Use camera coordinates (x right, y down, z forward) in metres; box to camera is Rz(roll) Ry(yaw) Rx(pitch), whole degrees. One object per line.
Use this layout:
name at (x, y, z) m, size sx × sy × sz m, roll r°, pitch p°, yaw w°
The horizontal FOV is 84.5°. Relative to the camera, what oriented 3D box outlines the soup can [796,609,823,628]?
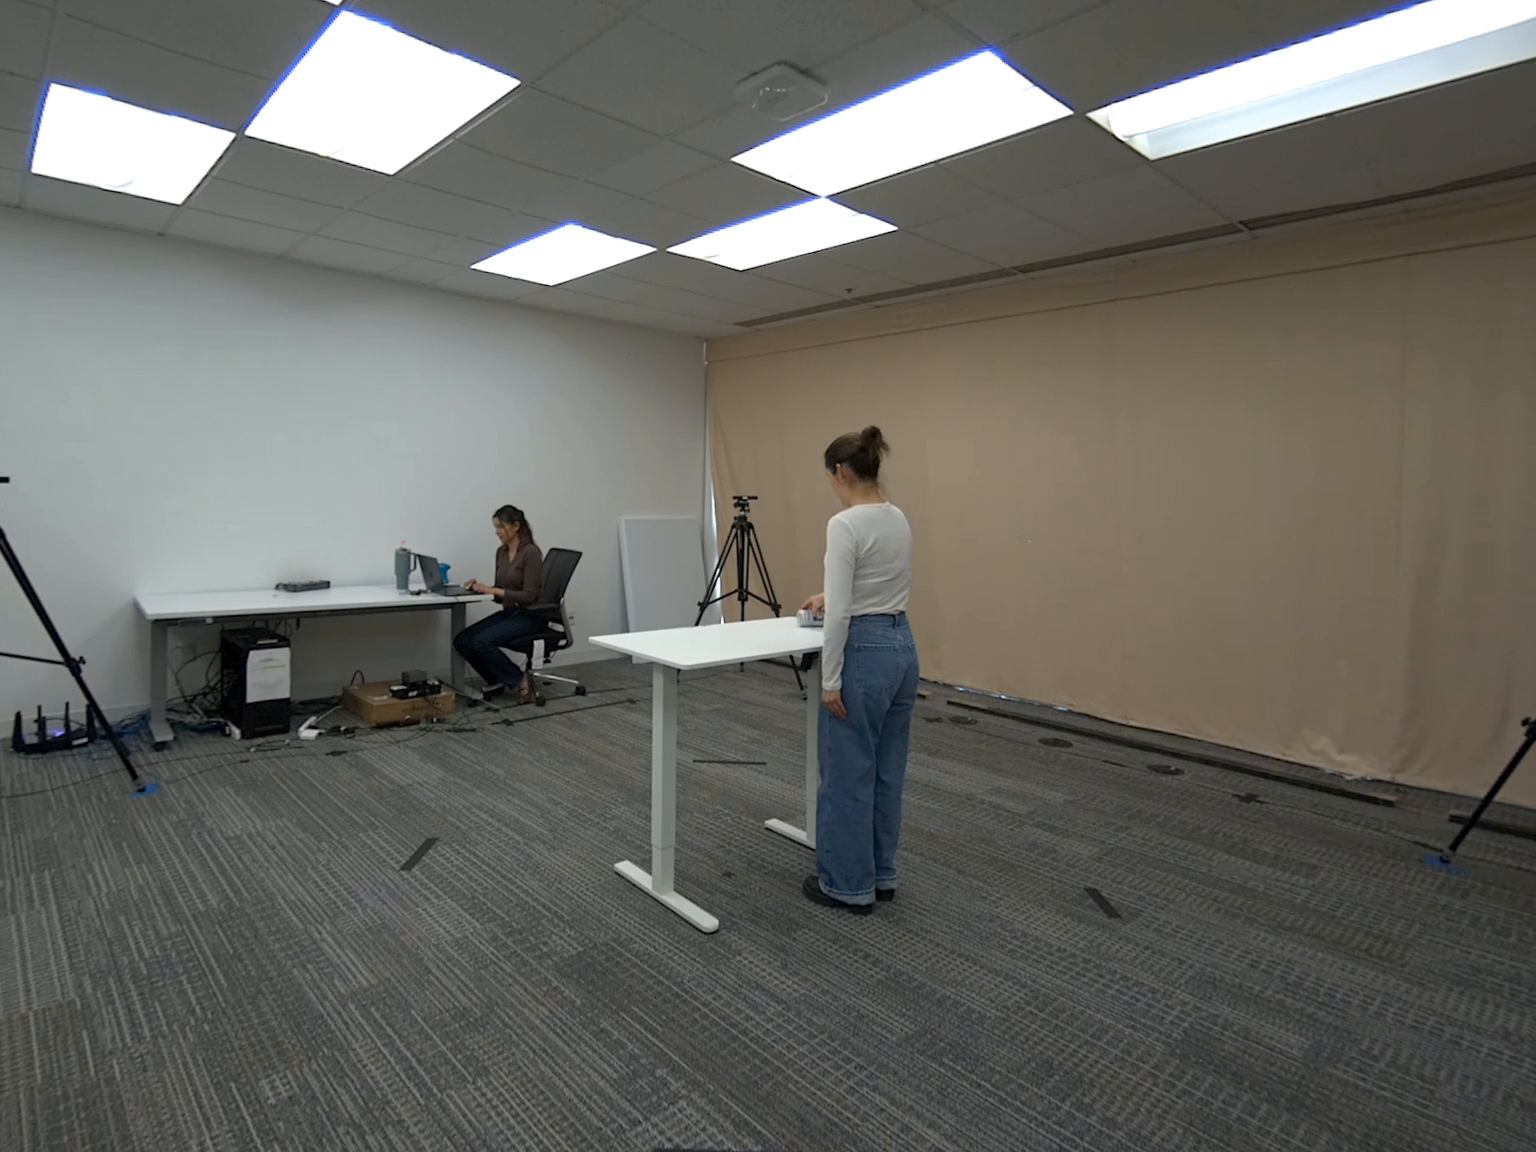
soup can at (0.157, 0.172, 3.348) m, size 0.065 × 0.067 × 0.124 m, roll -2°, pitch 2°, yaw -40°
